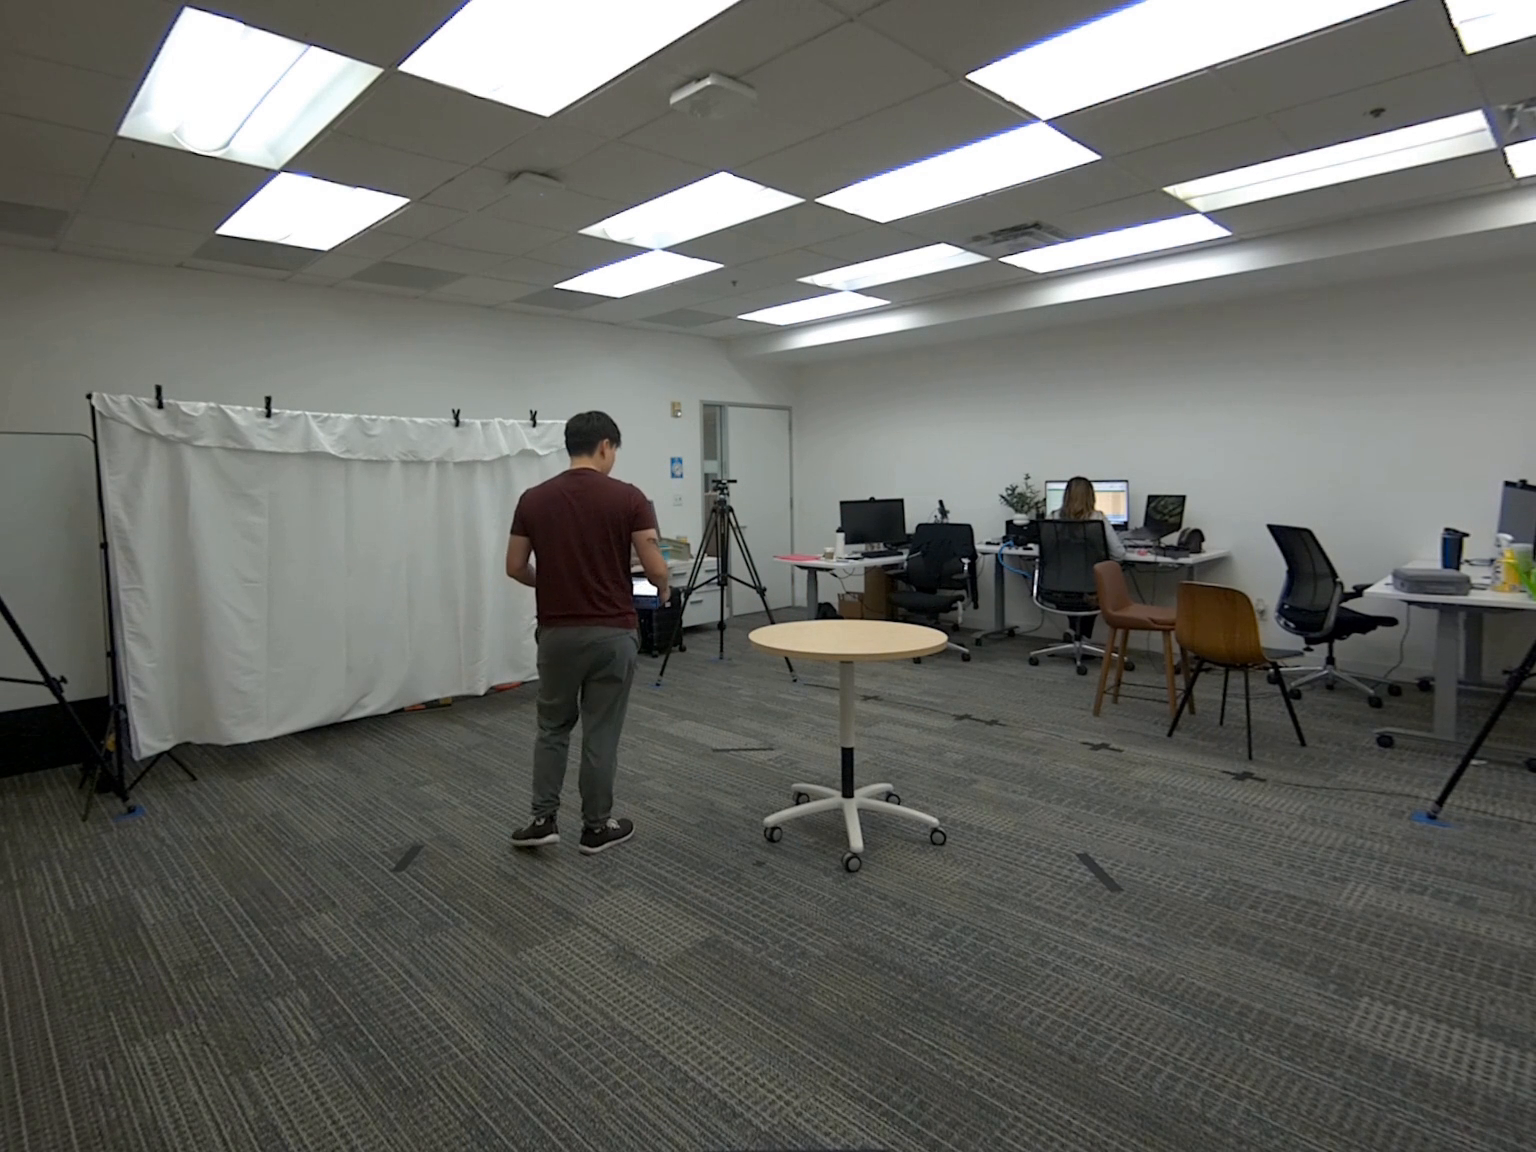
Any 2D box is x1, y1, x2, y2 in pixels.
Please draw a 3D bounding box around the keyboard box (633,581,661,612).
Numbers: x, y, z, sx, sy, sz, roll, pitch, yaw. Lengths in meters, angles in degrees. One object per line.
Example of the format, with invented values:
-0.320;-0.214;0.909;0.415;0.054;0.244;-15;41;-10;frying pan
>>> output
-0.657;0.067;3.456;0.440;0.058;0.177;4;18;6;keyboard box
